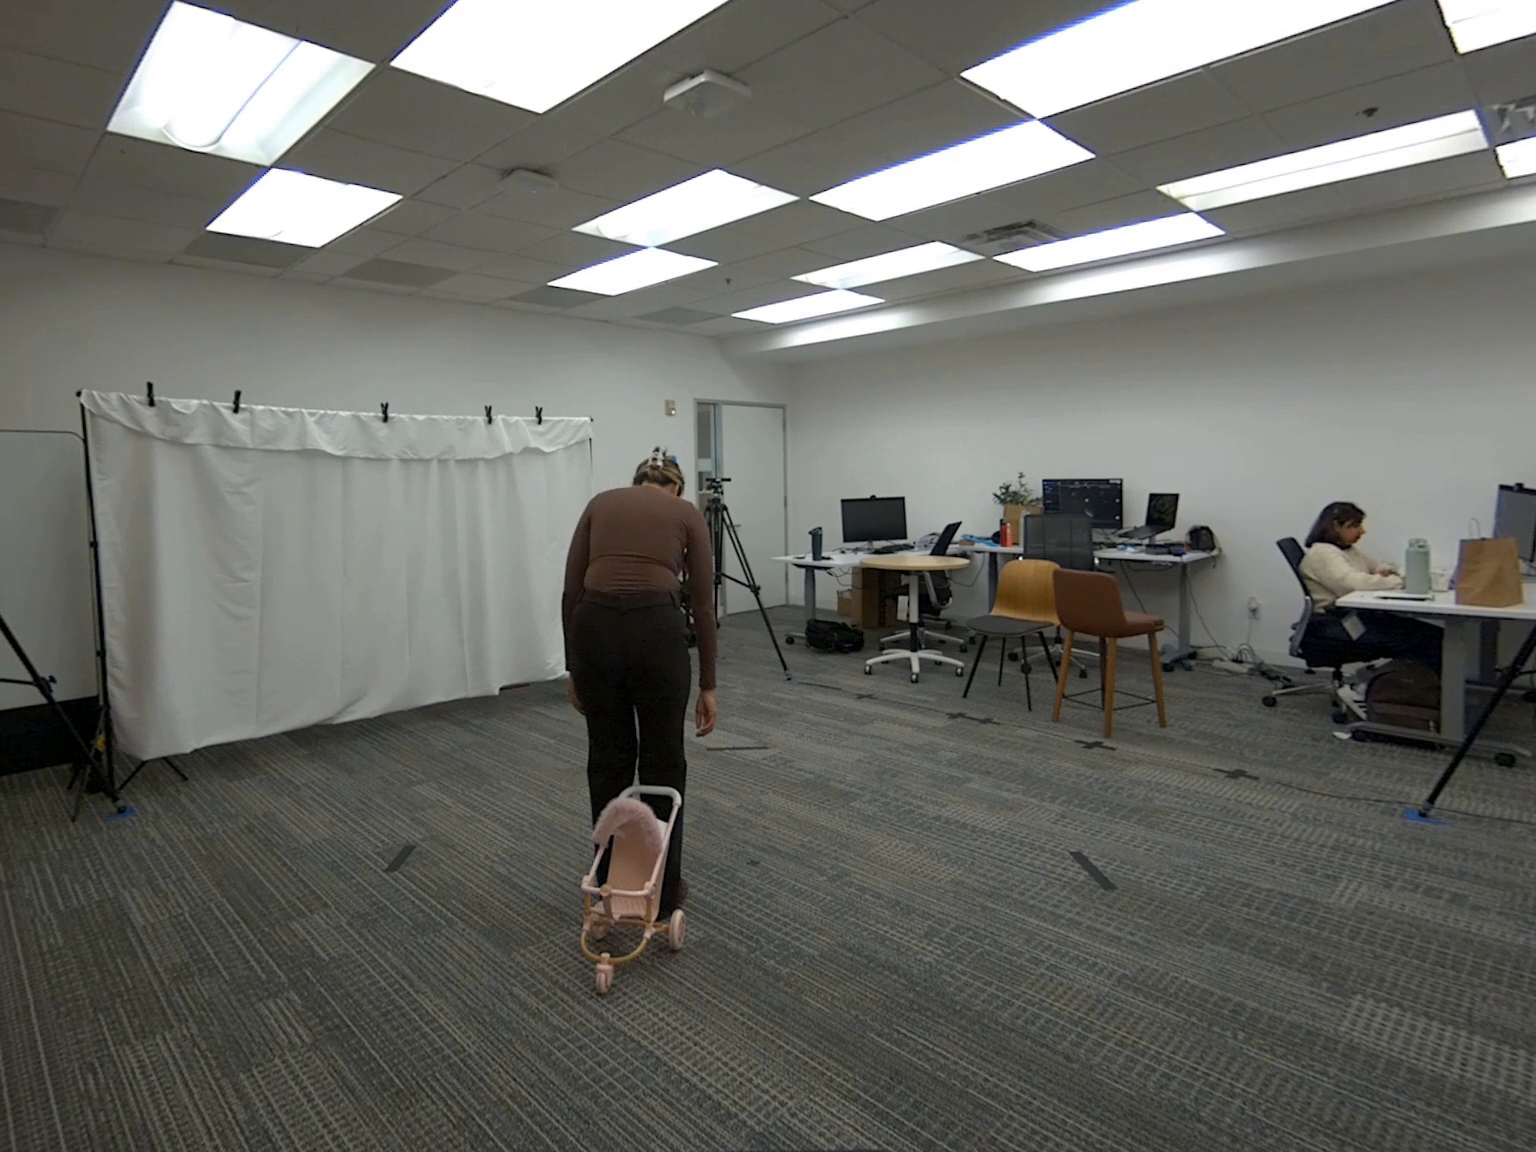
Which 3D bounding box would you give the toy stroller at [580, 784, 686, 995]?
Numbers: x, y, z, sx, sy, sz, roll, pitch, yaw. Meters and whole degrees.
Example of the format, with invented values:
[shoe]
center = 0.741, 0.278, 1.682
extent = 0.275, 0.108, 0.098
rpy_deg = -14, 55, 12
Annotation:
[toy stroller]
center = -0.416, 0.904, 2.512
extent = 0.286, 0.540, 0.332
rpy_deg = -1, -12, 18
